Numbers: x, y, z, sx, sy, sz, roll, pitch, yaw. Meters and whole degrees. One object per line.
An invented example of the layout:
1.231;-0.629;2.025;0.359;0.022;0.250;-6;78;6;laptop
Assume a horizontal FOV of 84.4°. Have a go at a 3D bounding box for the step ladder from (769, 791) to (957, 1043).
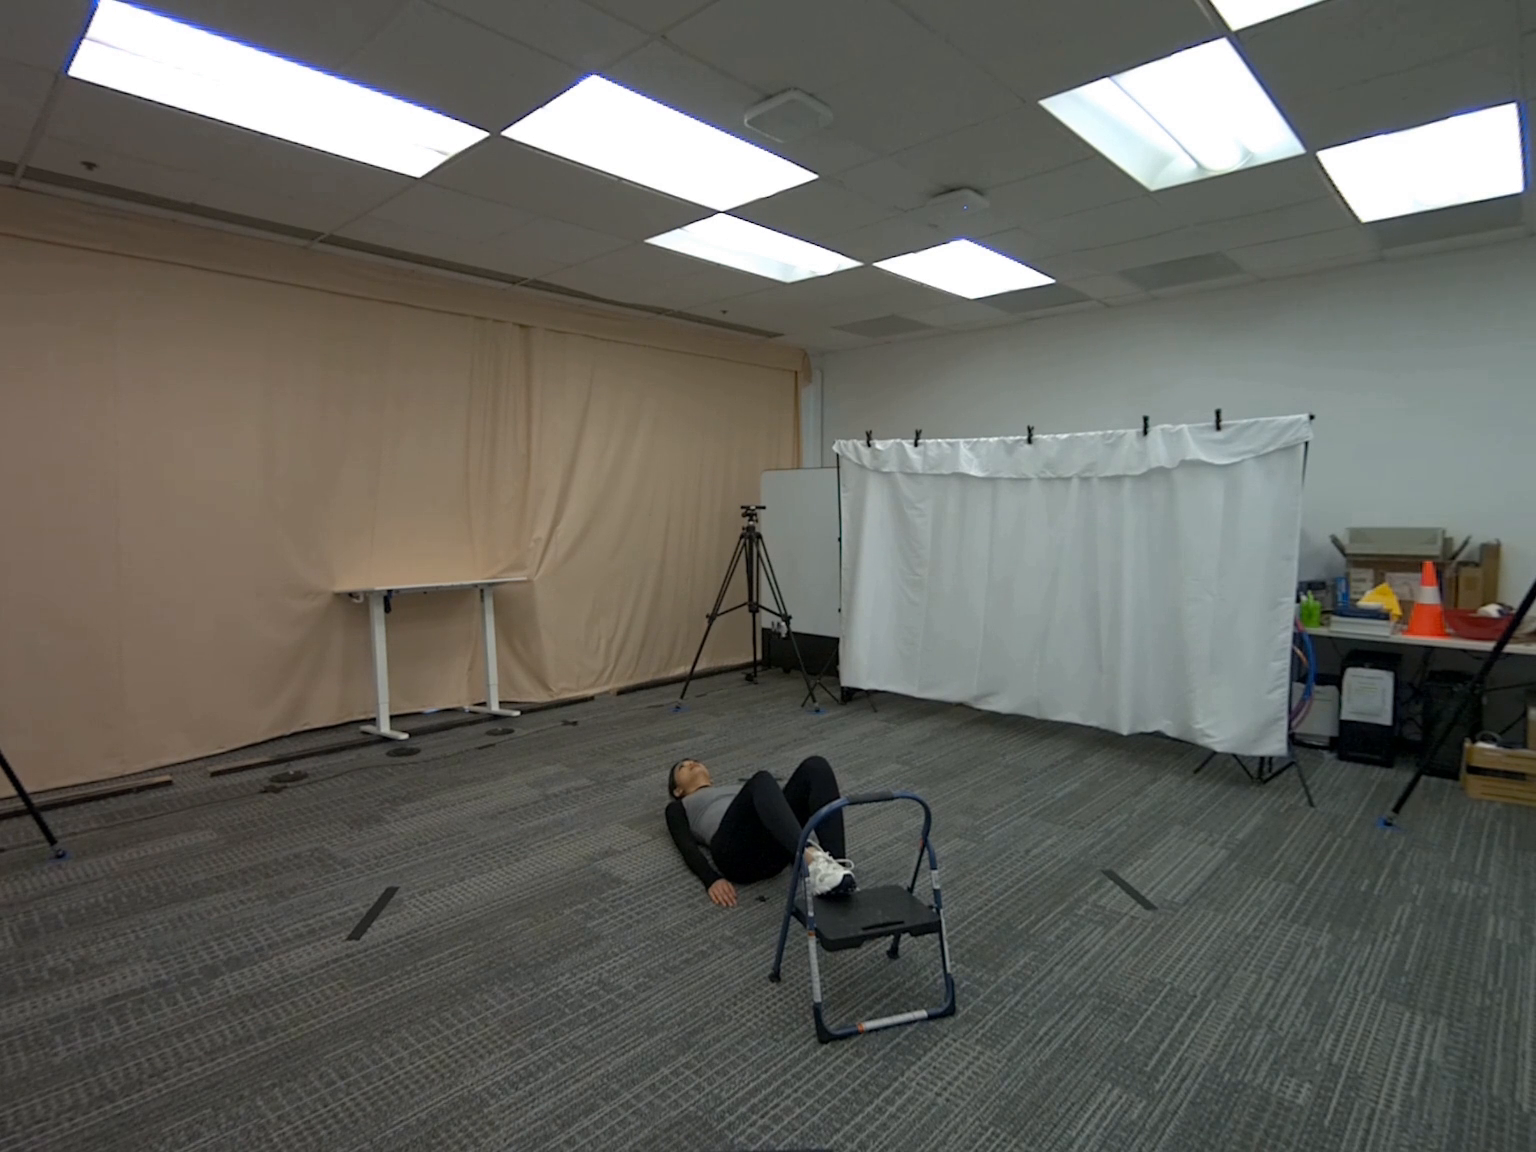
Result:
0.272;0.894;2.382;0.422;0.605;0.357;-1;3;-21;step ladder
